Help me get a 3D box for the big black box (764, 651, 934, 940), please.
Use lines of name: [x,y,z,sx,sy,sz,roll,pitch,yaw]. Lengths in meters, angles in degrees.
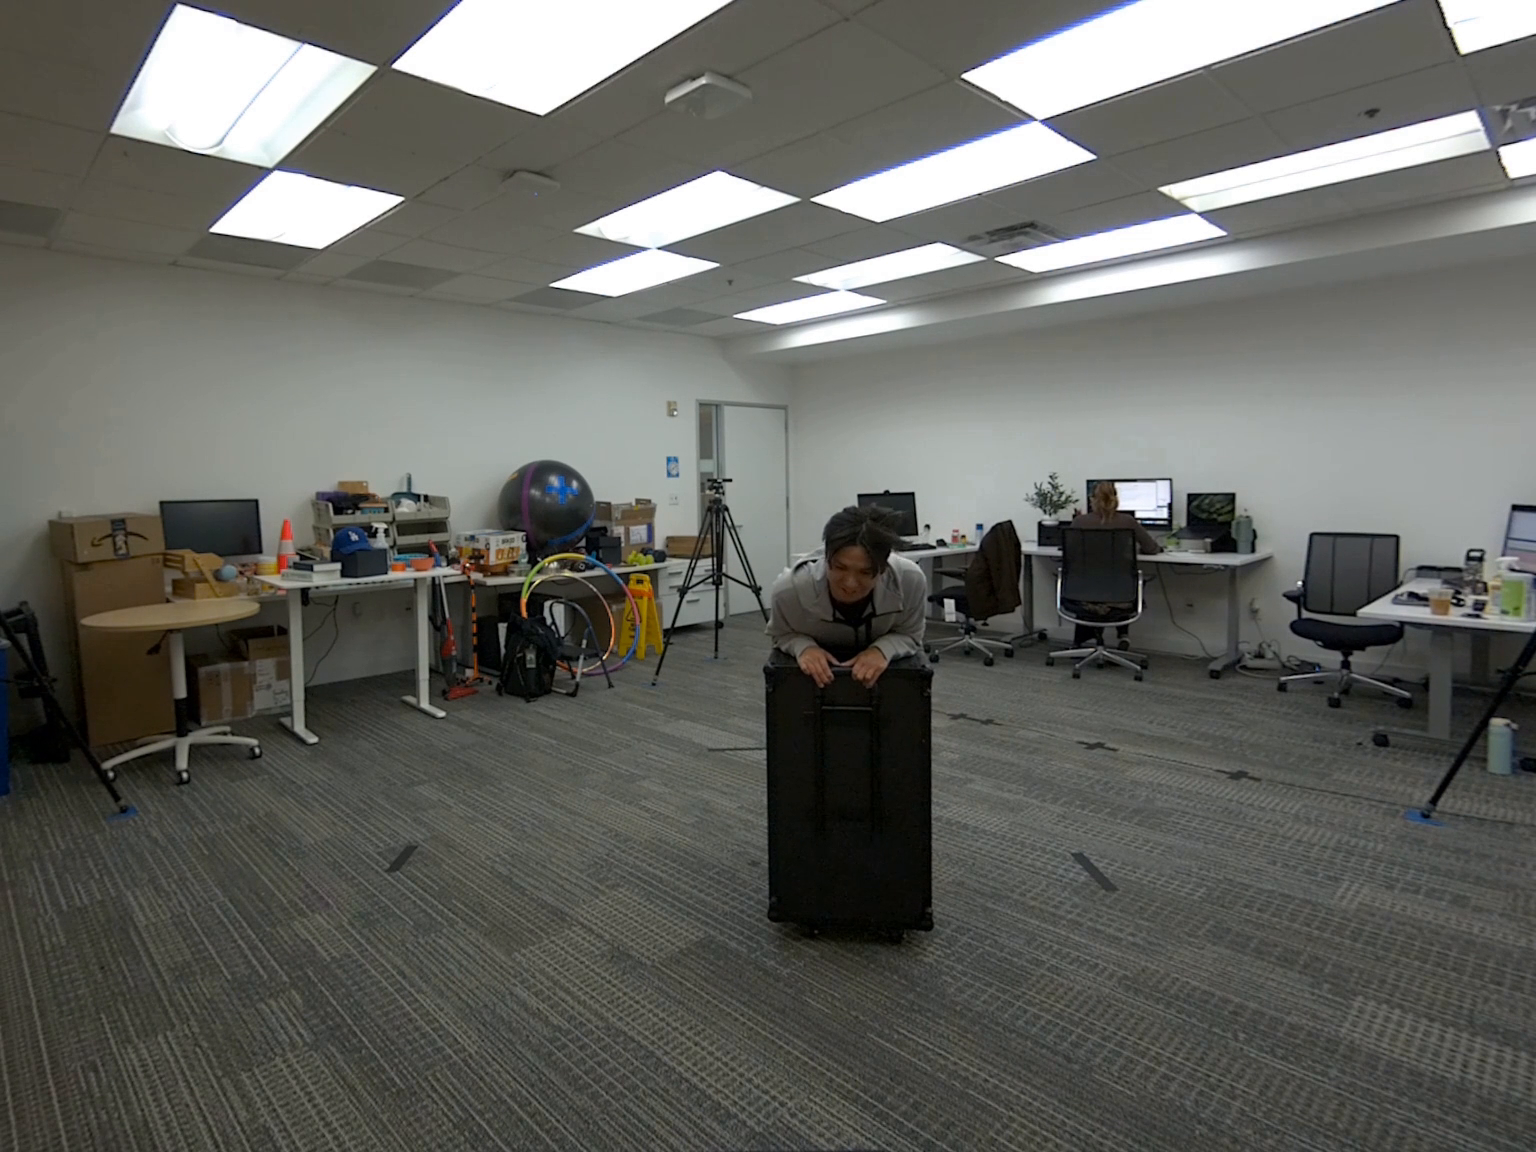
big black box: [0.257,0.670,2.664,0.525,0.858,0.395,0,4,7]
